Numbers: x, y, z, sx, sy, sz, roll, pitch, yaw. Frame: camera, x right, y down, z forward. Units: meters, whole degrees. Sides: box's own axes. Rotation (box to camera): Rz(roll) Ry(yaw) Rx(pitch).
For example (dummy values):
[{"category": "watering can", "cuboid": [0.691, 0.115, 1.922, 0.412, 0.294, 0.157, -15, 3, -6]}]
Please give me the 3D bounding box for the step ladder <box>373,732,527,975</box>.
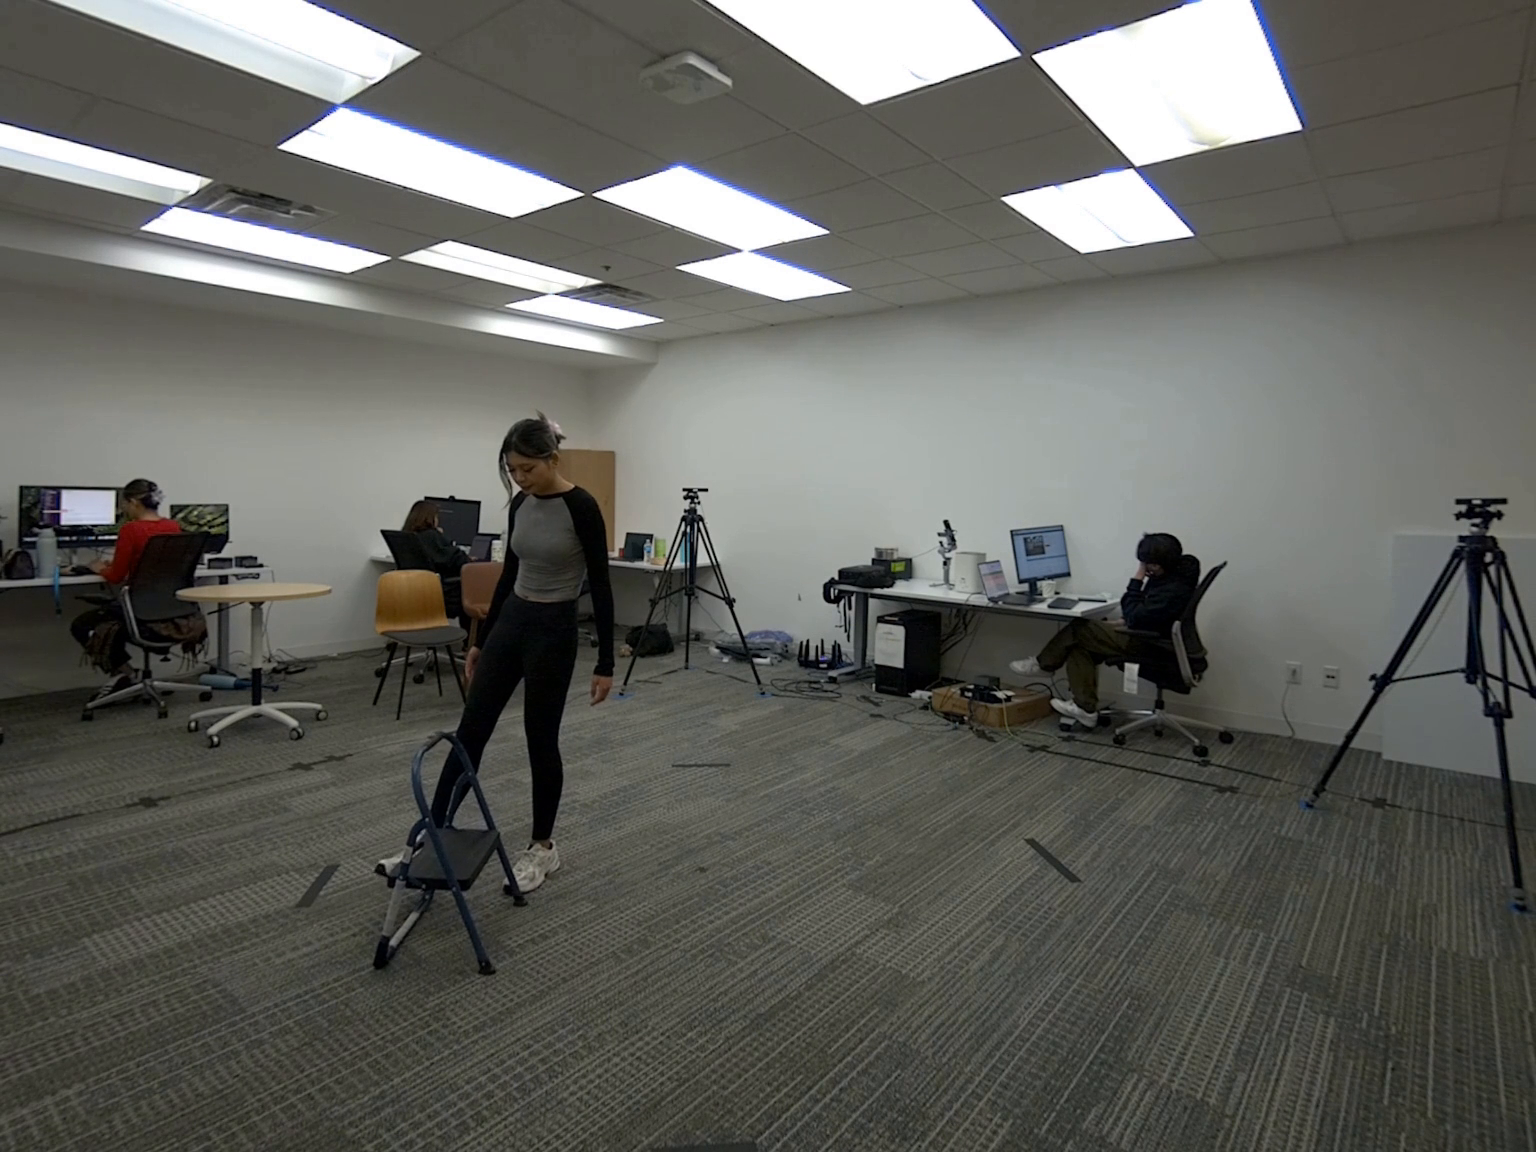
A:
[{"category": "step ladder", "cuboid": [-0.968, 0.806, 2.608, 0.349, 0.605, 0.432, 1, 3, -1]}]
